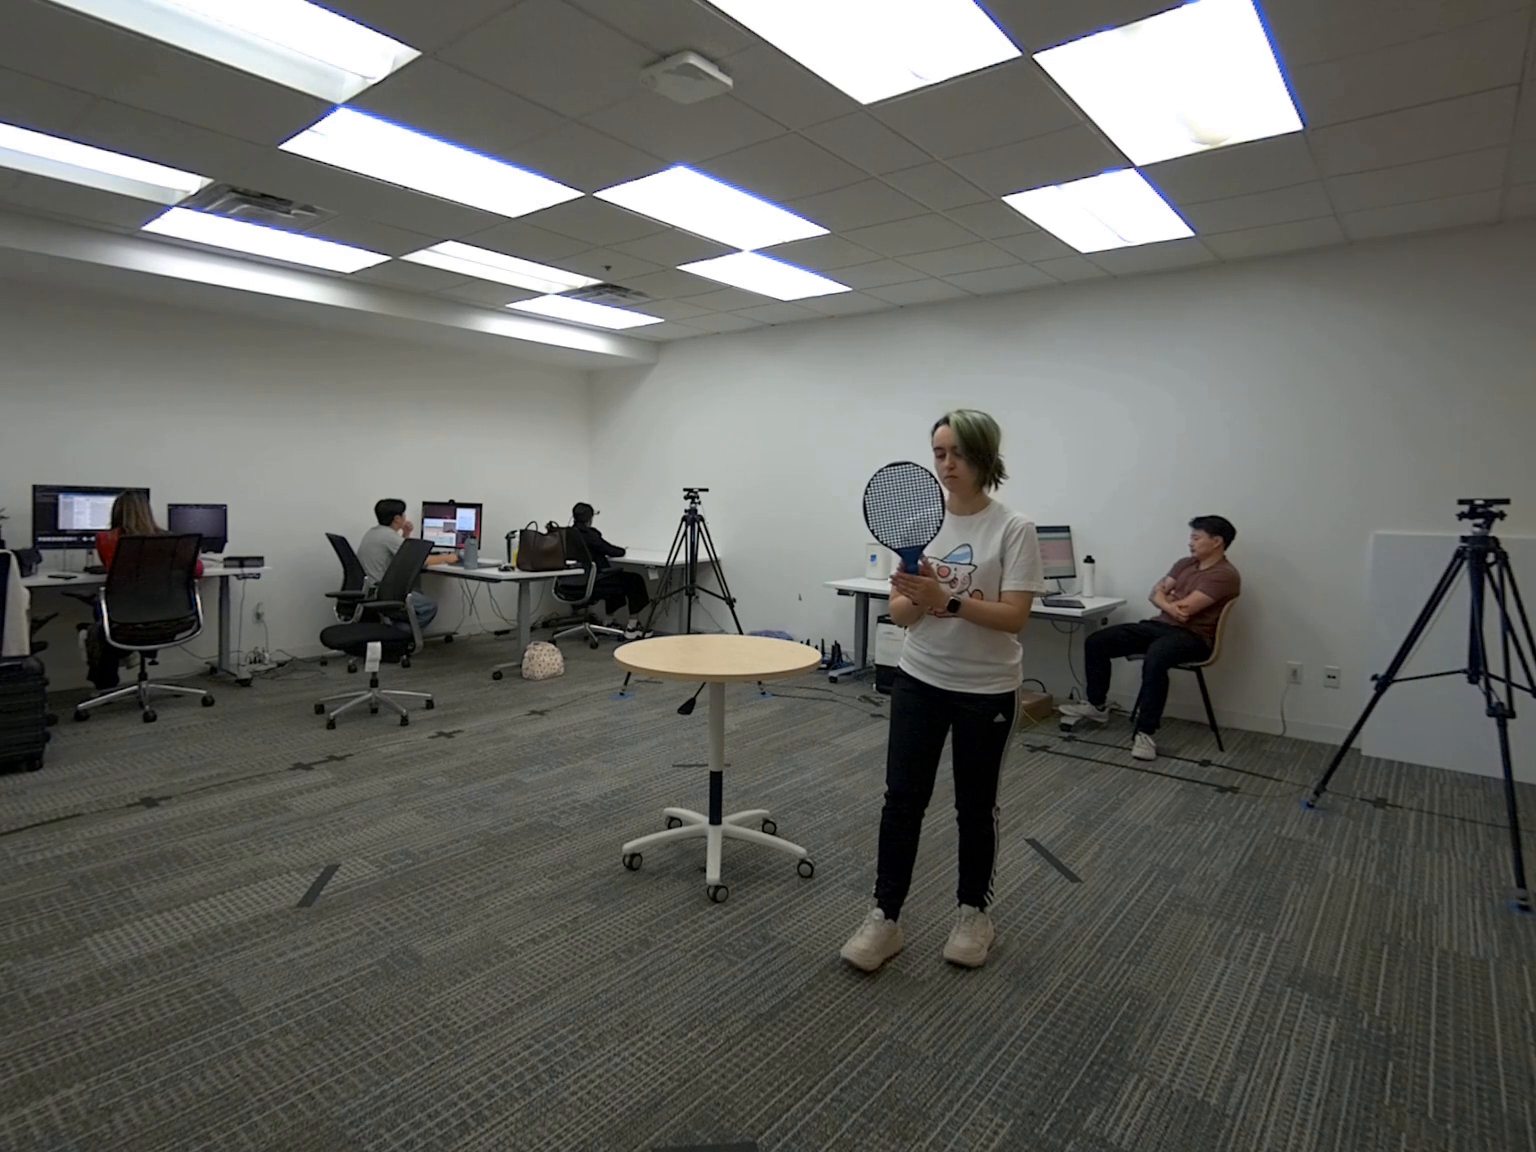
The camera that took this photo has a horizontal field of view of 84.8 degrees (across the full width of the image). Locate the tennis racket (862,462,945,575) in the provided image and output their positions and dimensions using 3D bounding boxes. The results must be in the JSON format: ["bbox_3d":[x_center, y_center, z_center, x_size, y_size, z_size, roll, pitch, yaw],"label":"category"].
[{"bbox_3d":[0.386,-0.114,2.290,0.216,0.420,0.032,-13,26,13],"label":"tennis racket"}]
